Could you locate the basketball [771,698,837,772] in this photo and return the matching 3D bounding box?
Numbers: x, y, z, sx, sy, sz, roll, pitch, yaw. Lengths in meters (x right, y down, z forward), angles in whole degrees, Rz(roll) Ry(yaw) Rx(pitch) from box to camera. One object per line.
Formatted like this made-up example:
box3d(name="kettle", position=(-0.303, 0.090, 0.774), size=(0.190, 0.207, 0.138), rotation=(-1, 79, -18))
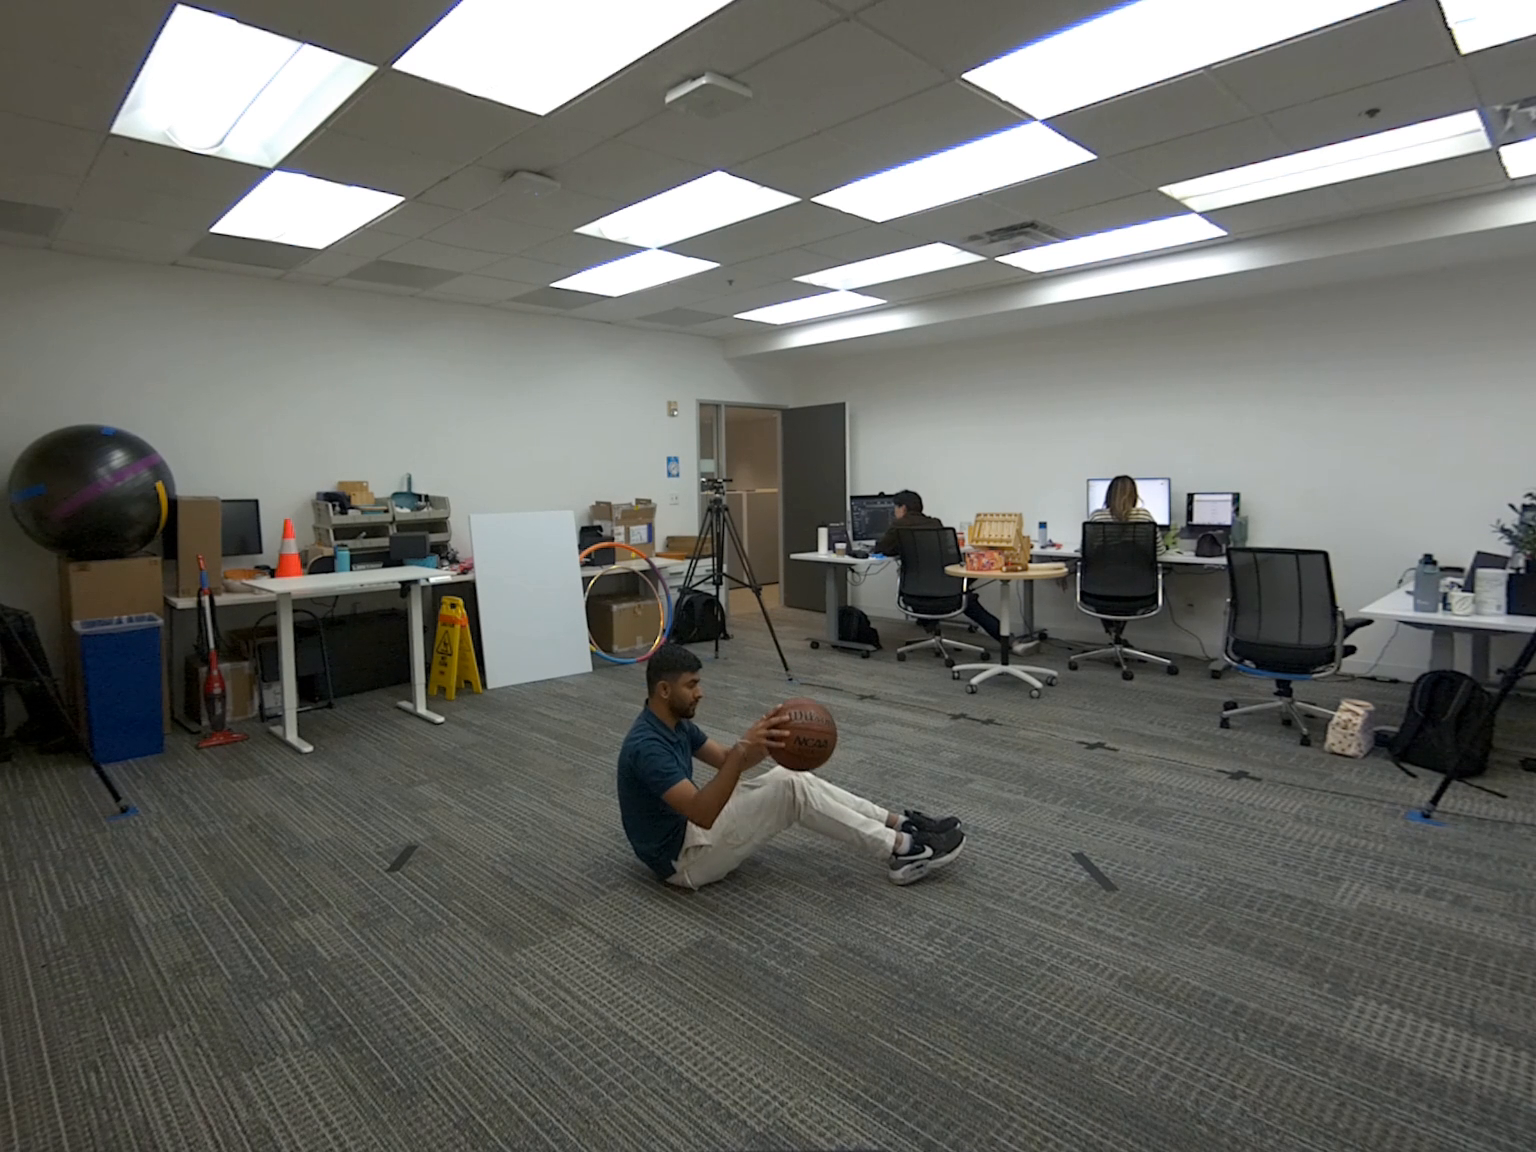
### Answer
box3d(name="basketball", position=(0.110, 0.524, 2.811), size=(0.236, 0.235, 0.237), rotation=(-1, 5, -2))
